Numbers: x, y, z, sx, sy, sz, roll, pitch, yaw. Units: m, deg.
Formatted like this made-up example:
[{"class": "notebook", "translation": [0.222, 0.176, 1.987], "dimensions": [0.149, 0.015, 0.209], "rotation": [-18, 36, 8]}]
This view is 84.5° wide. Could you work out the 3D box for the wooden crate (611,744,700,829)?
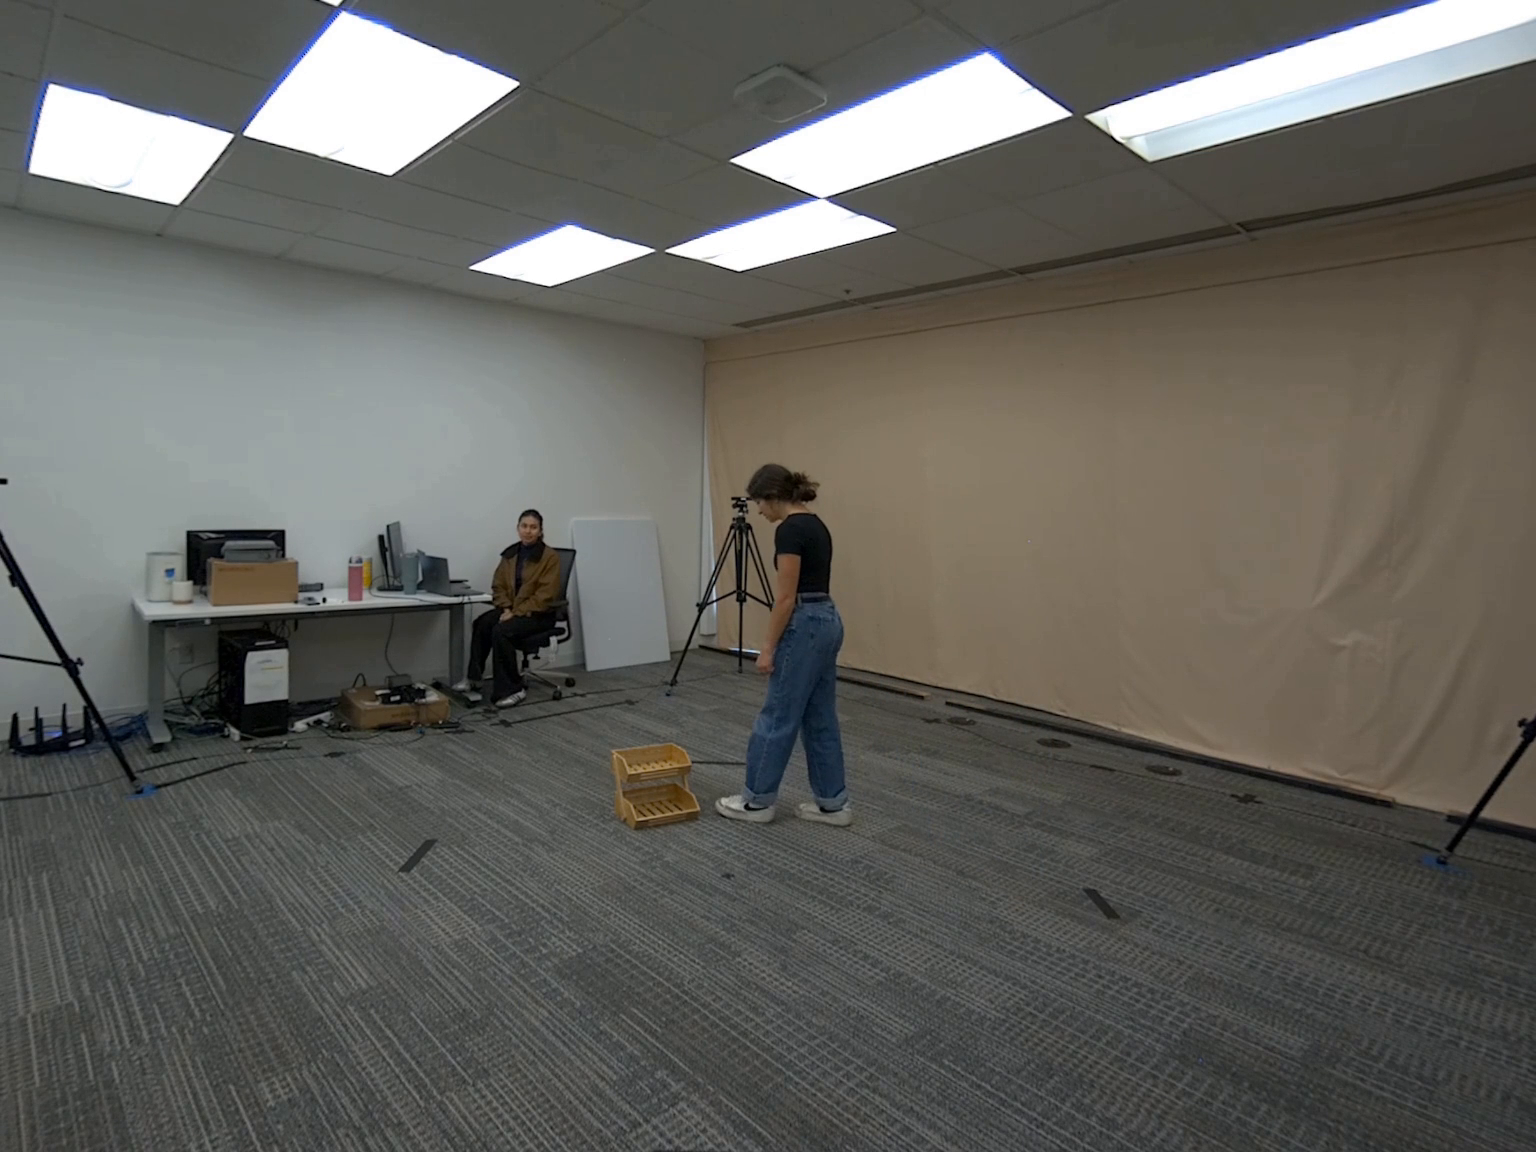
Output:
[{"class": "wooden crate", "translation": [-0.504, 0.913, 3.696], "dimensions": [0.318, 0.273, 0.309], "rotation": [0, 3, -31]}]
